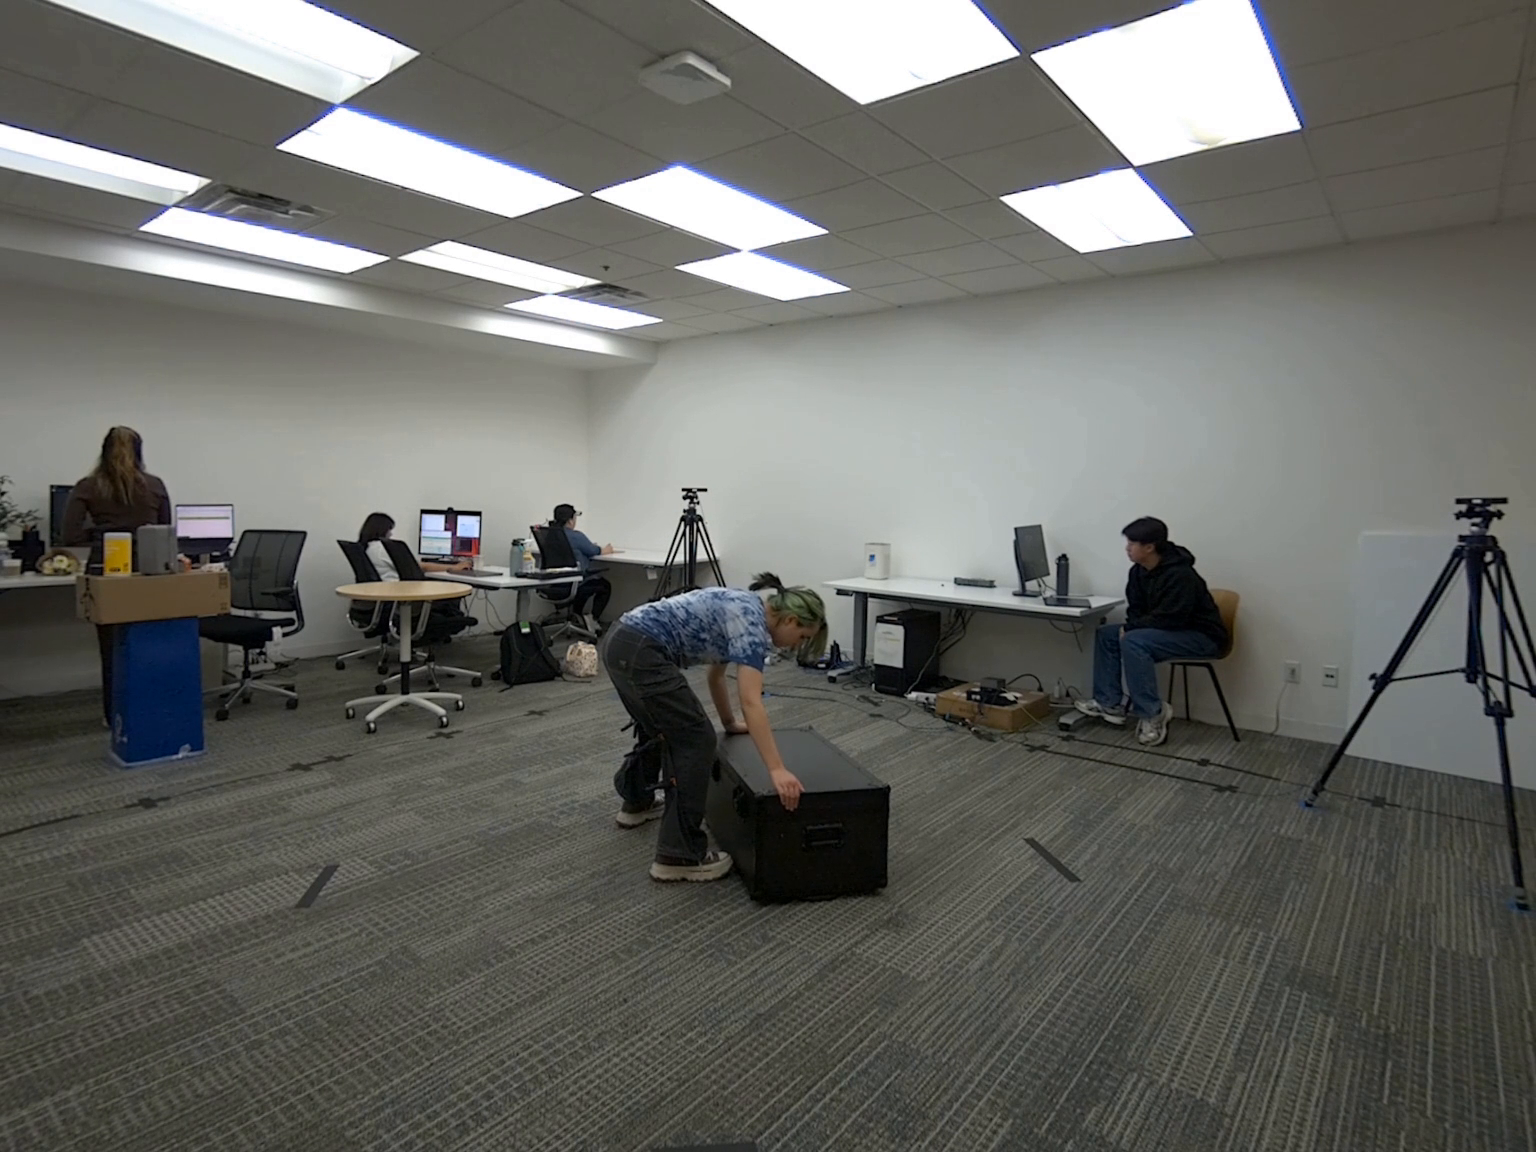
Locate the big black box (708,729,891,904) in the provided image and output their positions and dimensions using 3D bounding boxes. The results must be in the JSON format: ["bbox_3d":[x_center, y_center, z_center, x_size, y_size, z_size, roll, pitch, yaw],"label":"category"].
[{"bbox_3d":[0.072,0.870,3.229,0.513,0.395,0.878,-1,5,-17],"label":"big black box"}]
